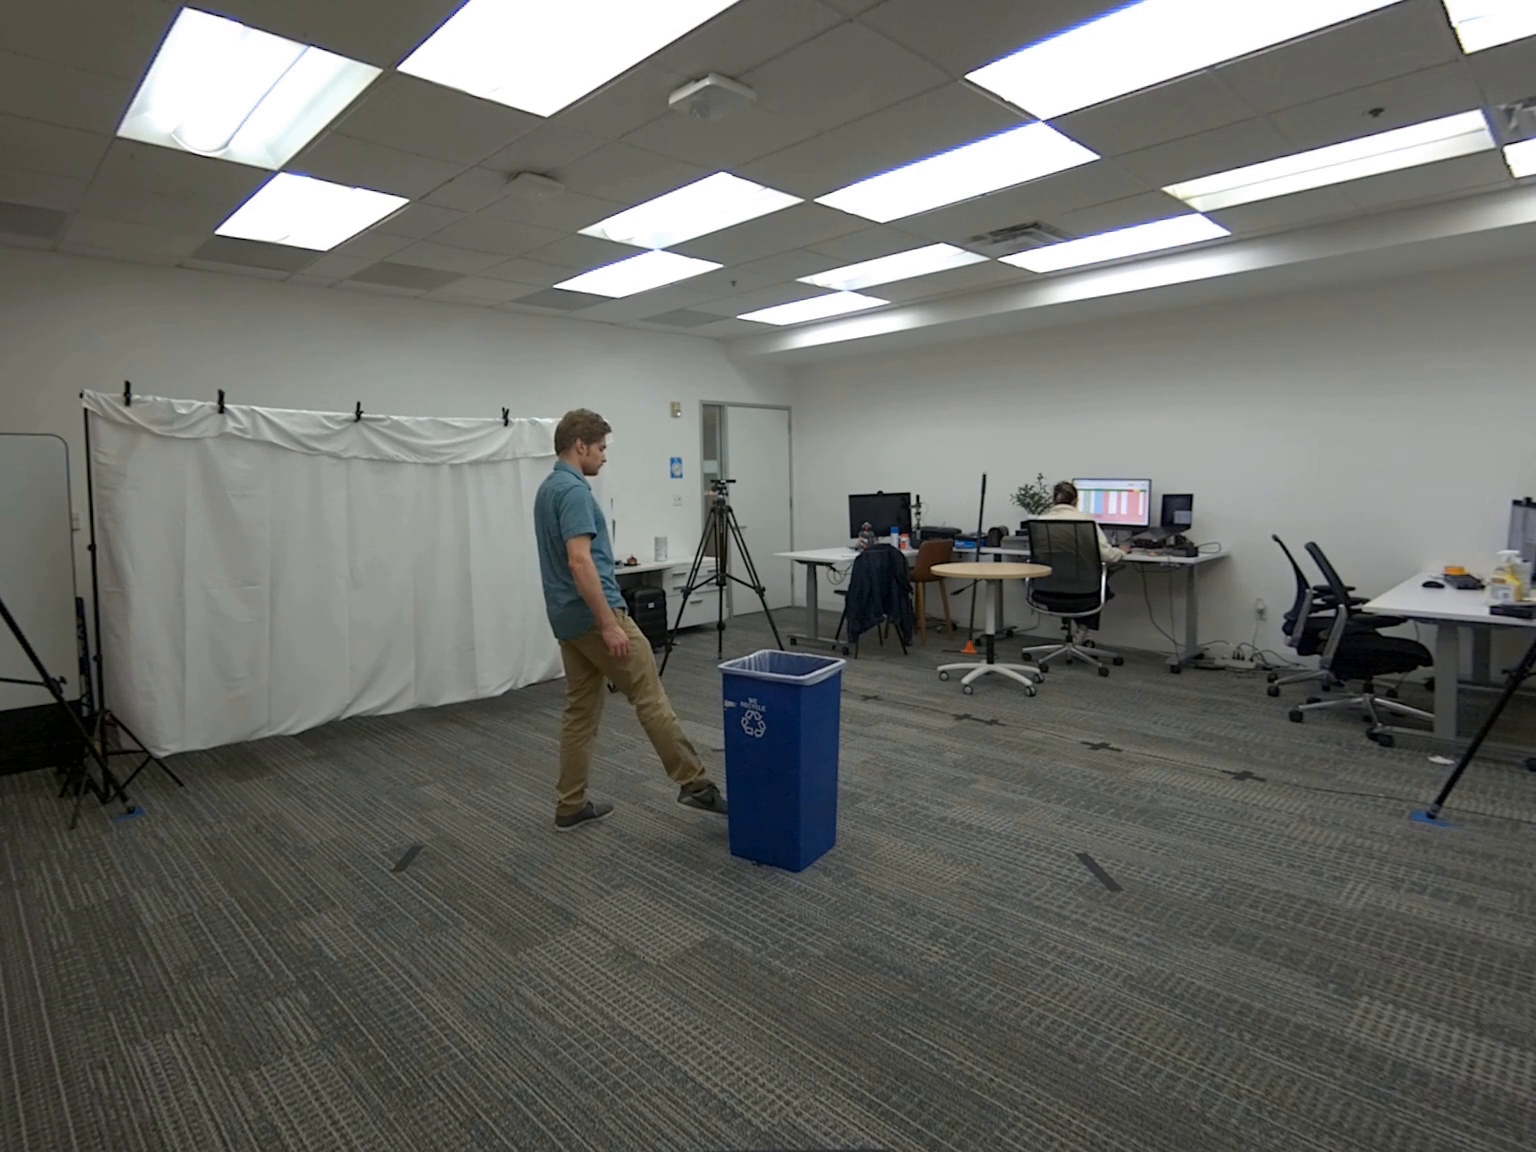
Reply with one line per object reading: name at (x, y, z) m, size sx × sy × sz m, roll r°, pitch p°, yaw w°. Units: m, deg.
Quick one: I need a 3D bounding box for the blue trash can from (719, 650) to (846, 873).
blue trash can at (0.066, 0.678, 3.202) m, size 0.384 × 0.711 × 0.369 m, roll 2°, pitch 5°, yaw 33°
